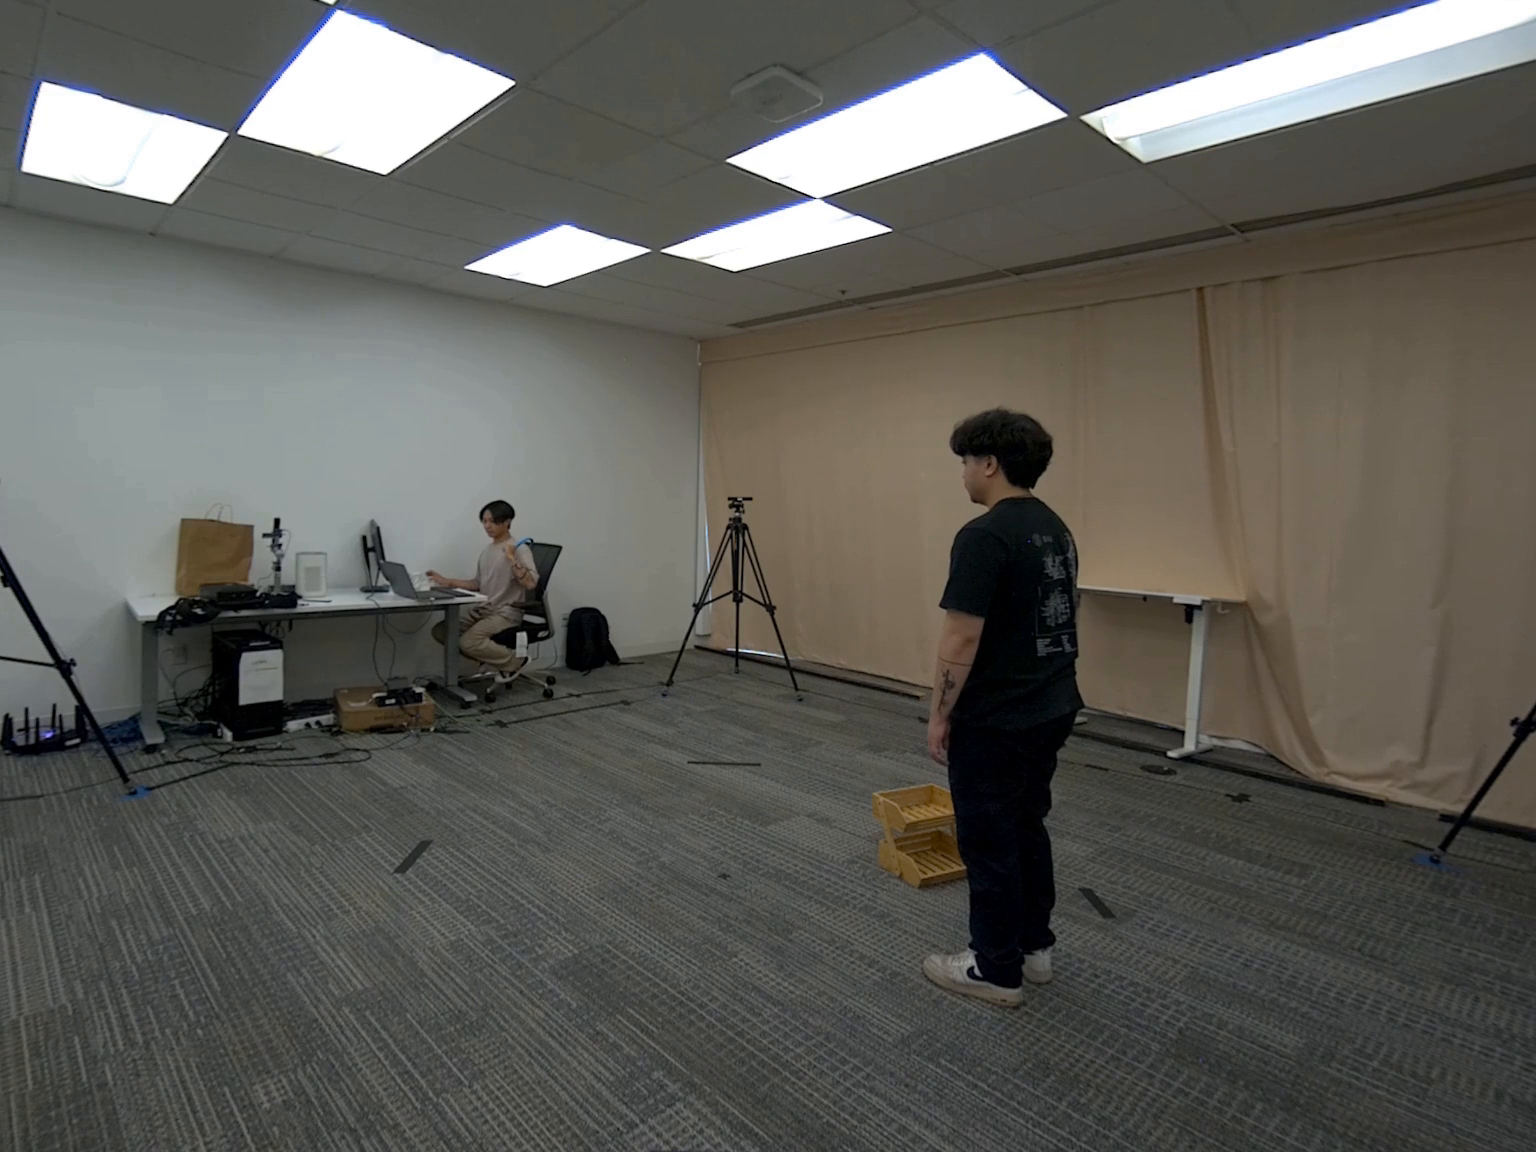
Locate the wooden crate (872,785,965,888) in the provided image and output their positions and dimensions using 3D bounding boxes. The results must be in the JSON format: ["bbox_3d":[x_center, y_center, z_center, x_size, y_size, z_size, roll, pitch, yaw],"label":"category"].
[{"bbox_3d":[0.600,0.985,3.220,0.318,0.273,0.309,0,4,-30],"label":"wooden crate"}]
